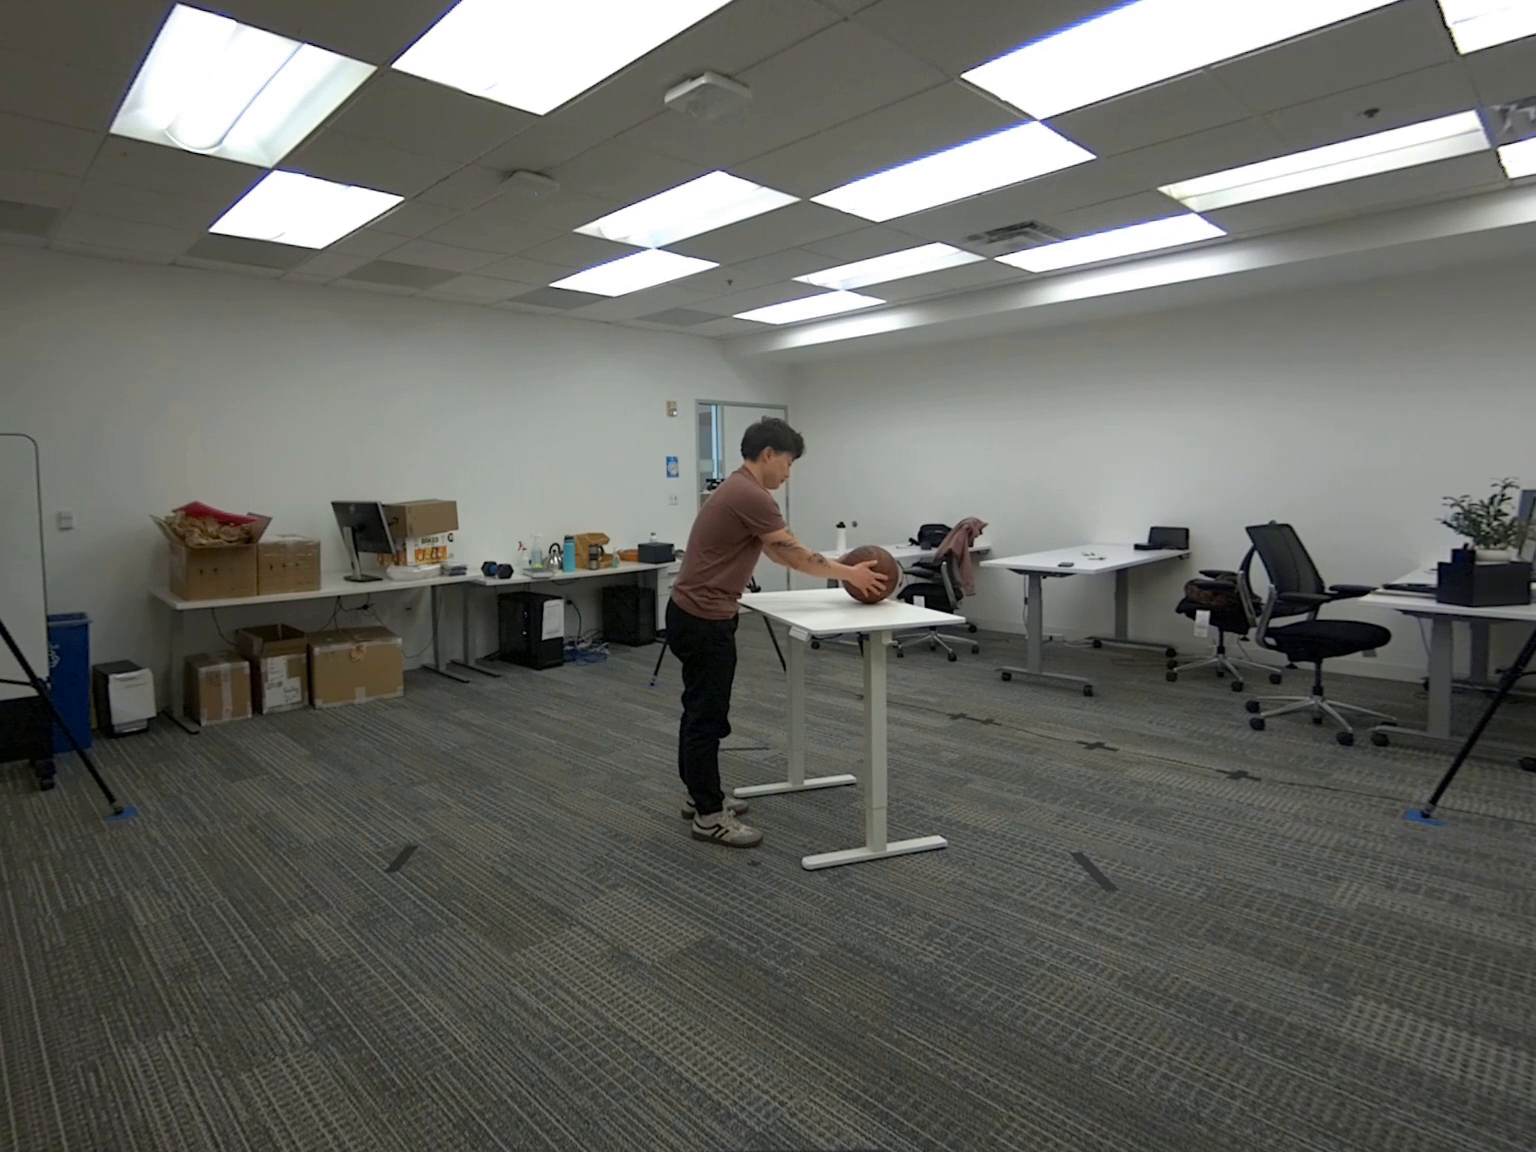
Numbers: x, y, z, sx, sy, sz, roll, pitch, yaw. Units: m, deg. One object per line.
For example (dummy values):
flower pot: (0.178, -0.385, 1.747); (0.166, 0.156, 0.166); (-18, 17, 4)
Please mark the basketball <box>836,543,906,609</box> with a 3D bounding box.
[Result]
basketball: (0.413, -0.005, 3.481); (0.236, 0.235, 0.237); (-1, 5, -2)
